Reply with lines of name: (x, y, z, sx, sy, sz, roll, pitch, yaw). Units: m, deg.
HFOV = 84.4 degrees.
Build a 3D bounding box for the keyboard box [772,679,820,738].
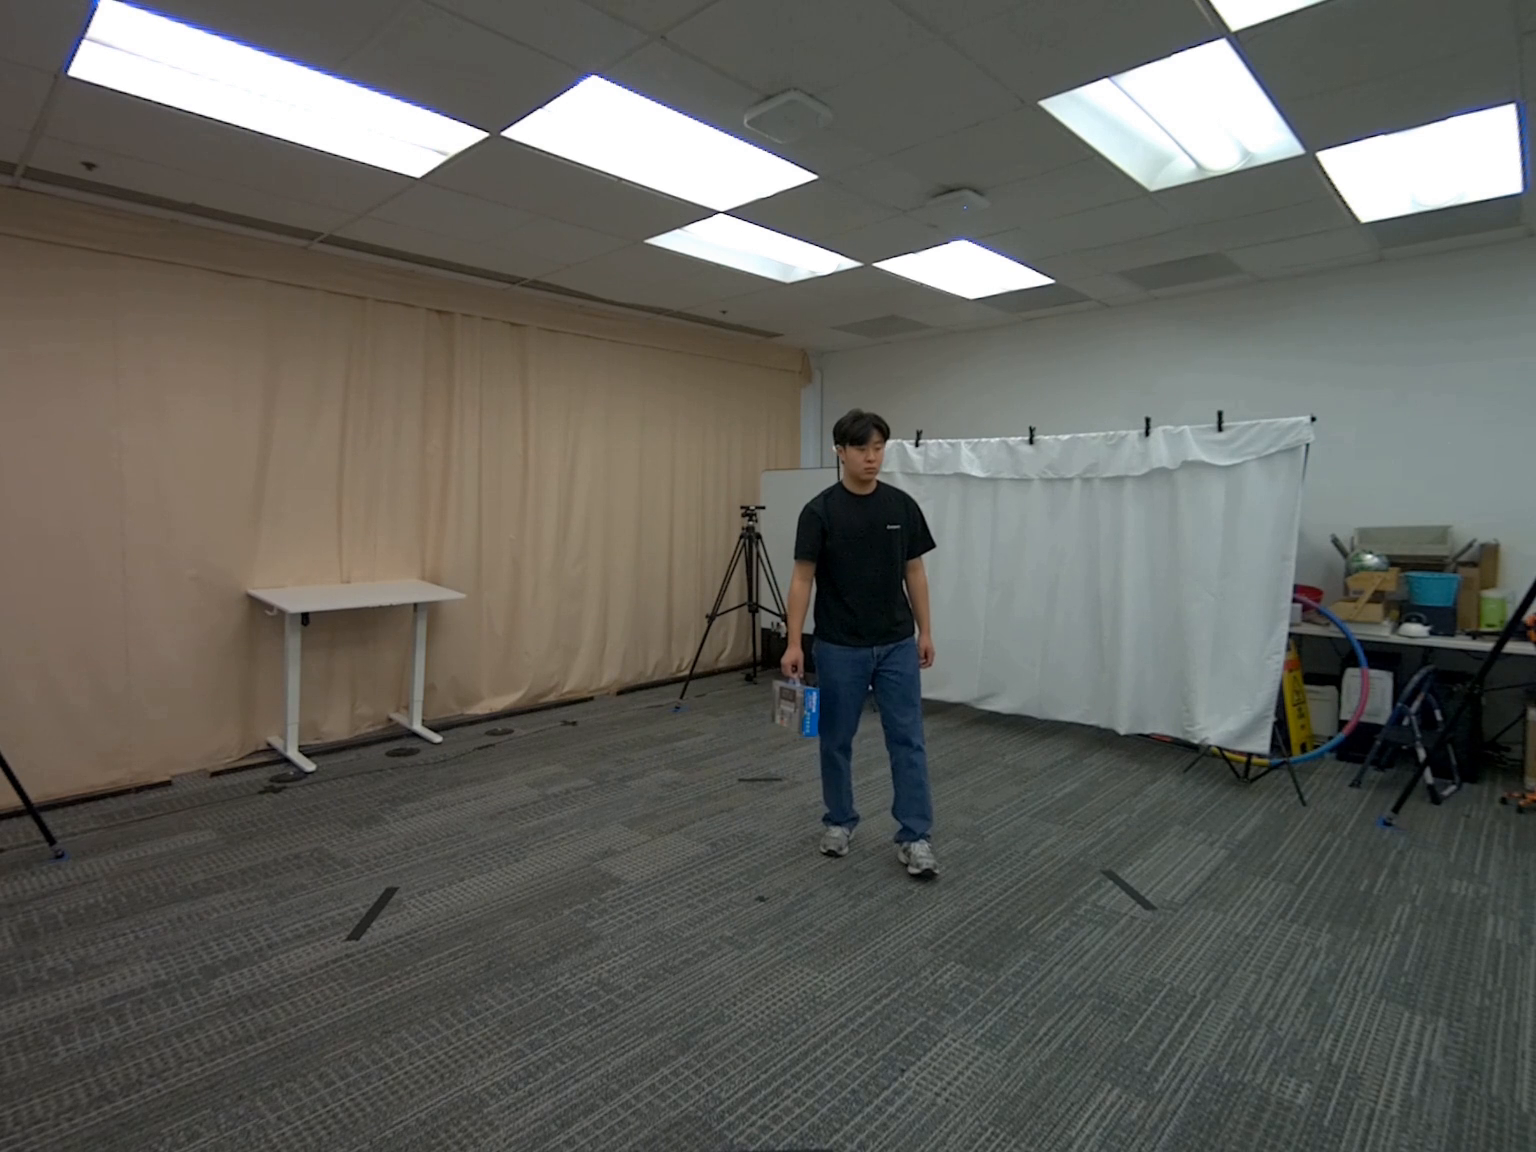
keyboard box: (0.106, 0.504, 3.261, 0.058, 0.176, 0.442, 3, -4, -15)
